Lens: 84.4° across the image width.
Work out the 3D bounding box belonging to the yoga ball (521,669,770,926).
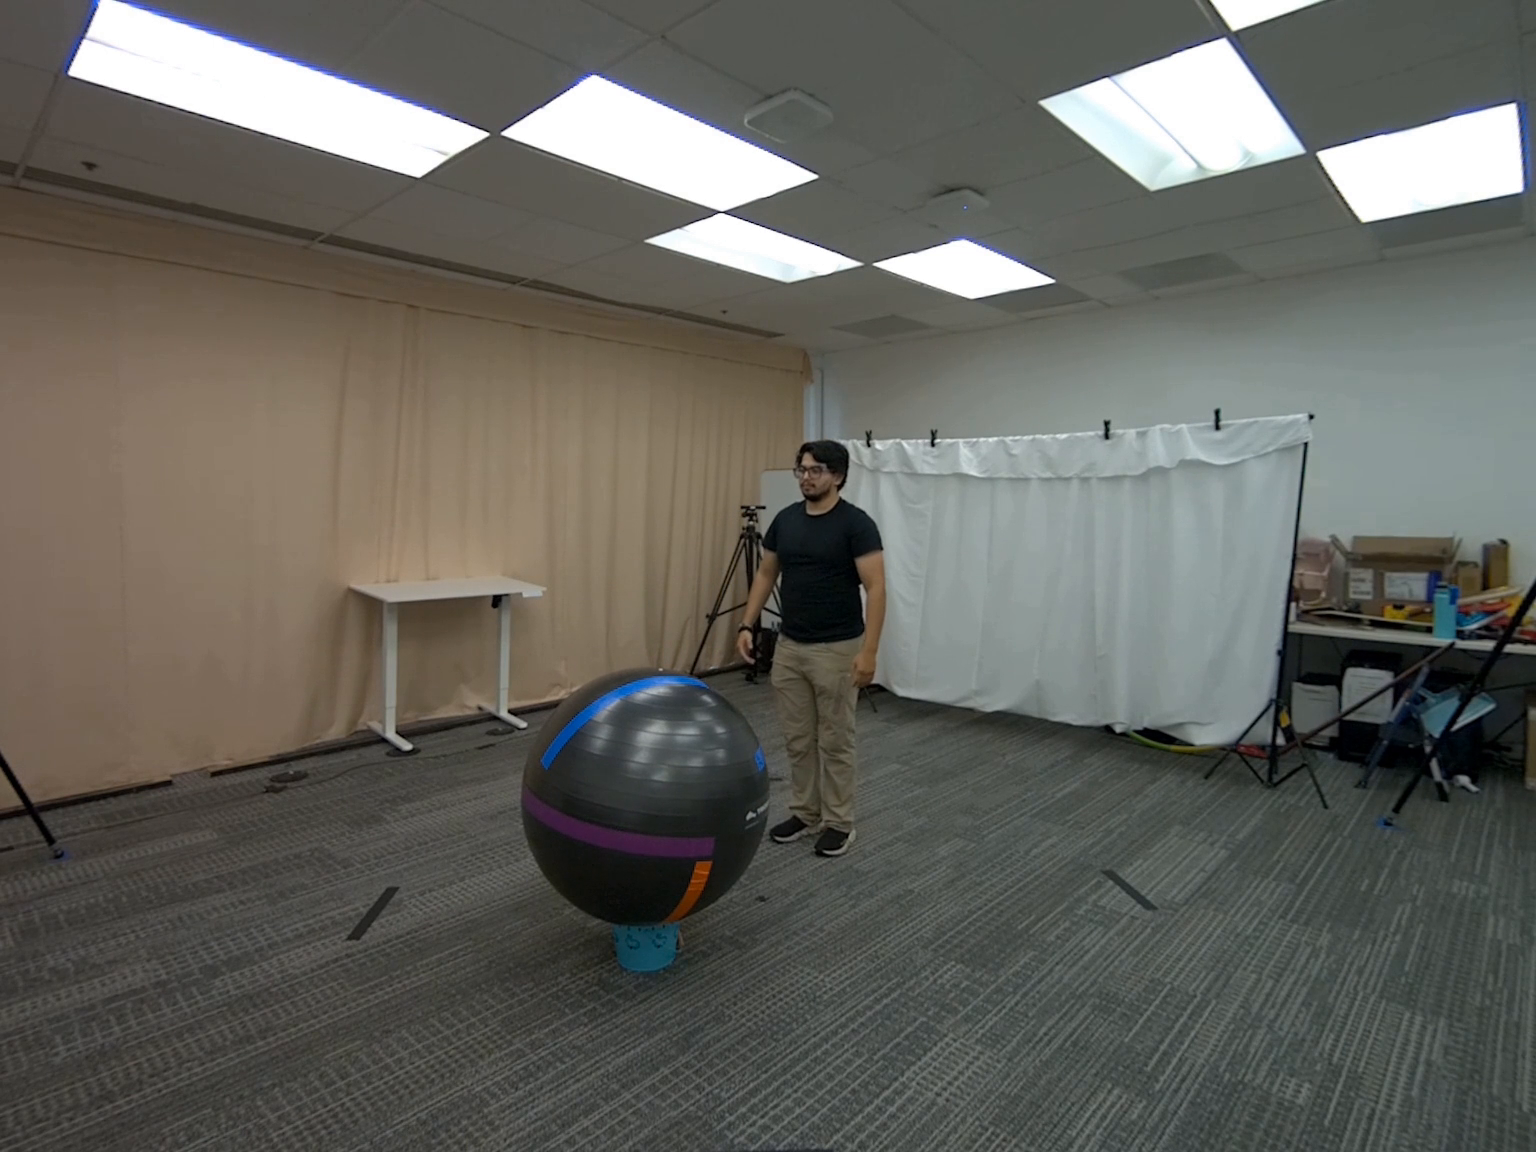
[{"bbox_3d":[-0.374,0.663,2.585,0.757,0.756,0.760,0,4,-2],"label":"yoga ball"}]
